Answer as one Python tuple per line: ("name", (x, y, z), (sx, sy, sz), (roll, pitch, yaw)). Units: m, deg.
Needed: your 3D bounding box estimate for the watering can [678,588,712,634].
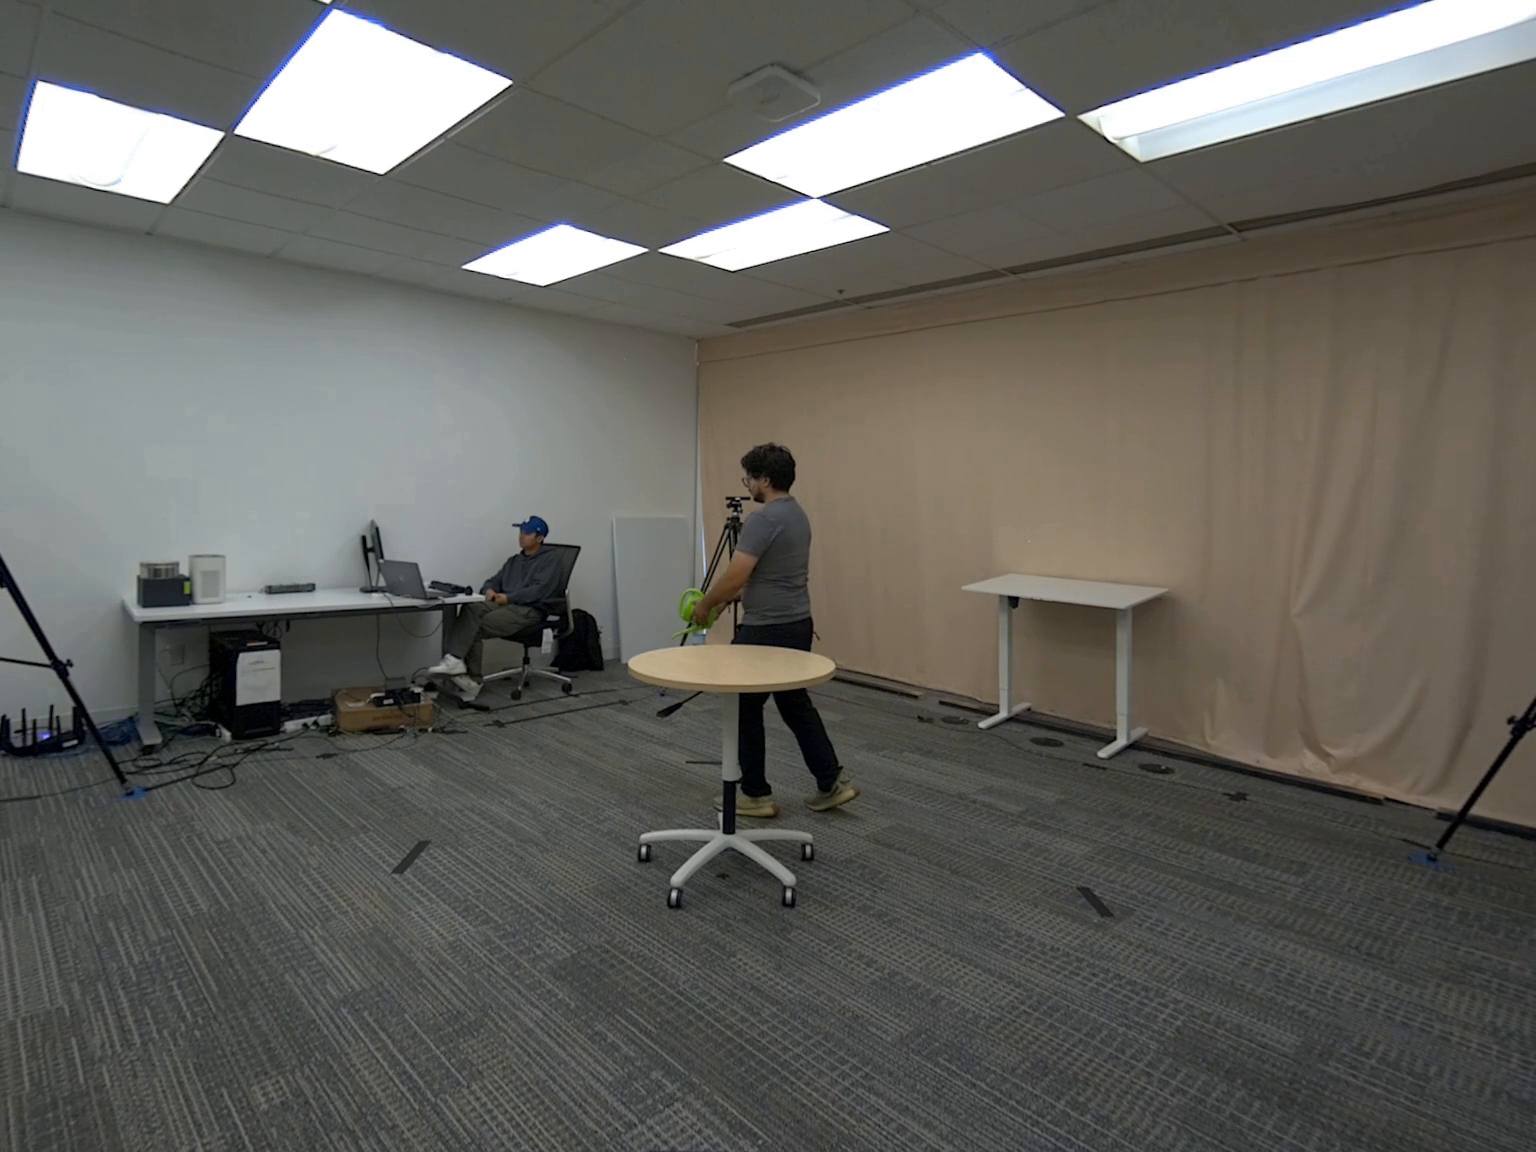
("watering can", (-0.343, 0.197, 3.922), (0.179, 0.275, 0.098), (18, 24, 10))
